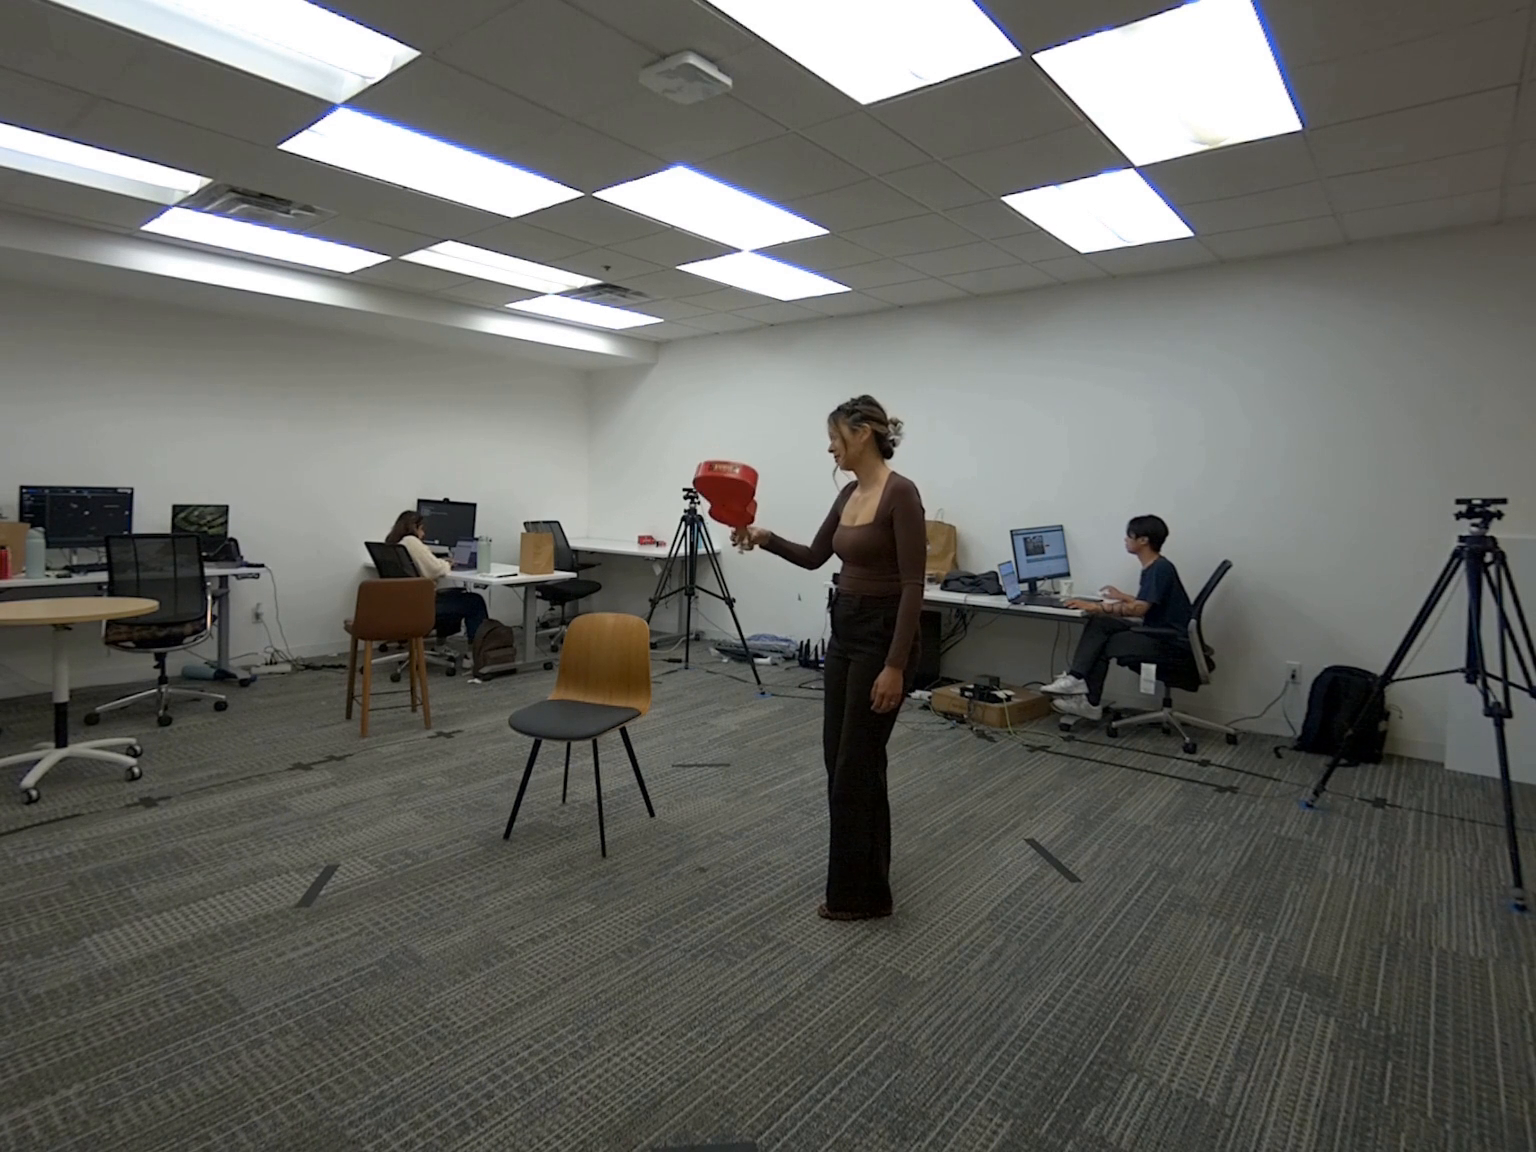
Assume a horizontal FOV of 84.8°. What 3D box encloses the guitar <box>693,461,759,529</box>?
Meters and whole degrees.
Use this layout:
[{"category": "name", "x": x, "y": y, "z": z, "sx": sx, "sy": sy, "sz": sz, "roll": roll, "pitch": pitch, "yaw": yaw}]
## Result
[{"category": "guitar", "x": -0.090, "y": -0.196, "z": 2.724, "sx": 0.197, "sy": 0.072, "sz": 0.479, "roll": 3, "pitch": -31, "yaw": 20}]
